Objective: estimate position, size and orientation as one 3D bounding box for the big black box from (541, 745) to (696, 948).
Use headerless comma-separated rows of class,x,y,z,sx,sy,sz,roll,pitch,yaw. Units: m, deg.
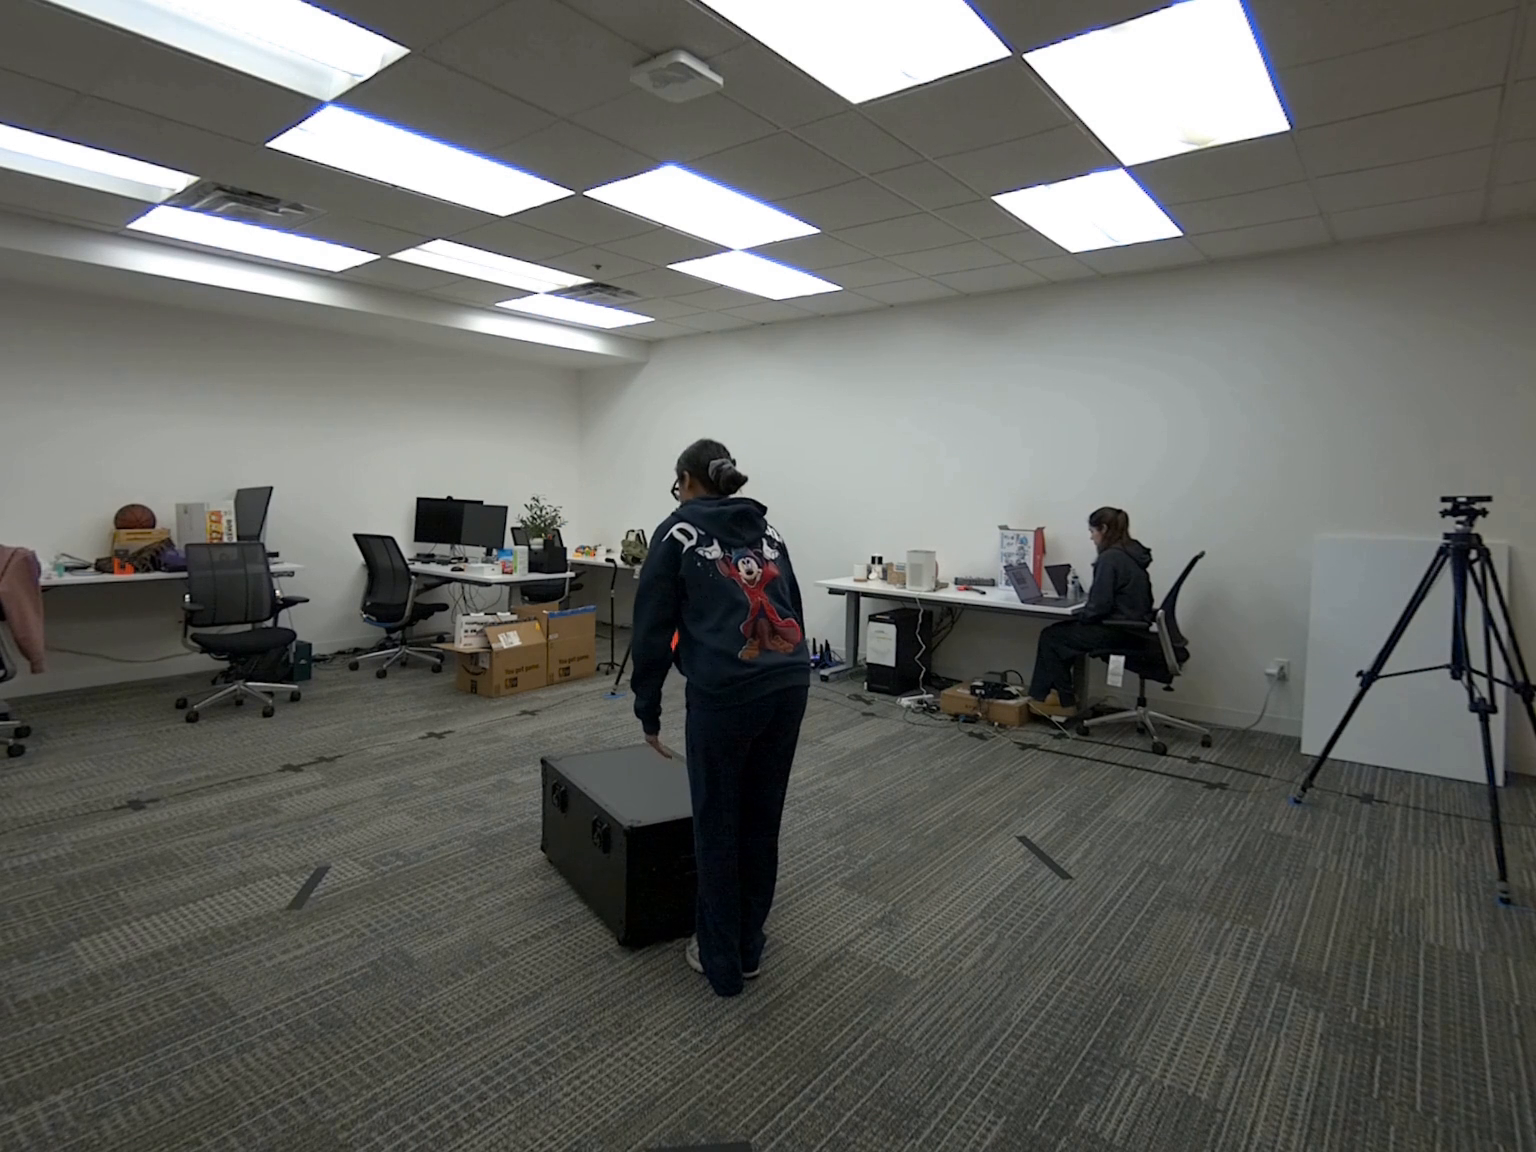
big black box,-0.491,0.899,2.991,0.385,0.519,0.889,-1,5,-33
